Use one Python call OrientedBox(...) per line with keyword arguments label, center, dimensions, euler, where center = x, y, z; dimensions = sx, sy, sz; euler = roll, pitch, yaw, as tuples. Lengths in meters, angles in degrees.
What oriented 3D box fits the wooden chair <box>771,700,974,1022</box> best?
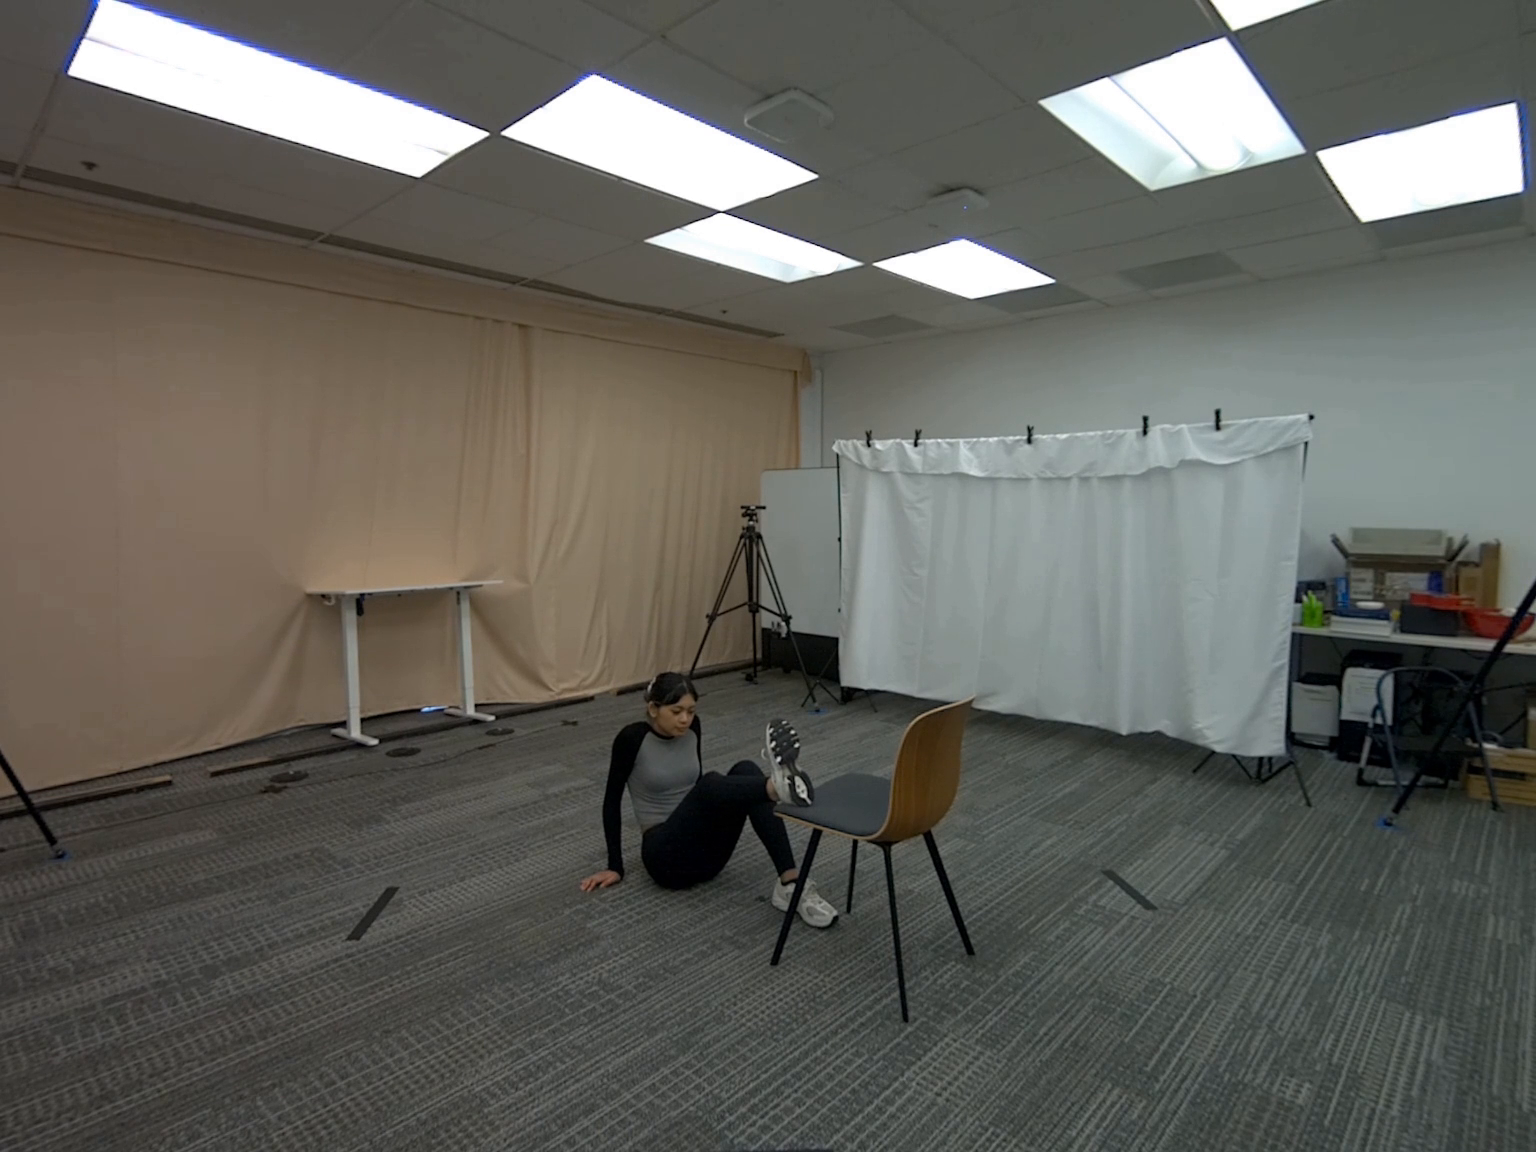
OrientedBox(label="wooden chair", center=(0.321, 0.750, 2.554), dimensions=(0.541, 0.874, 0.464), euler=(8, 8, 38))
